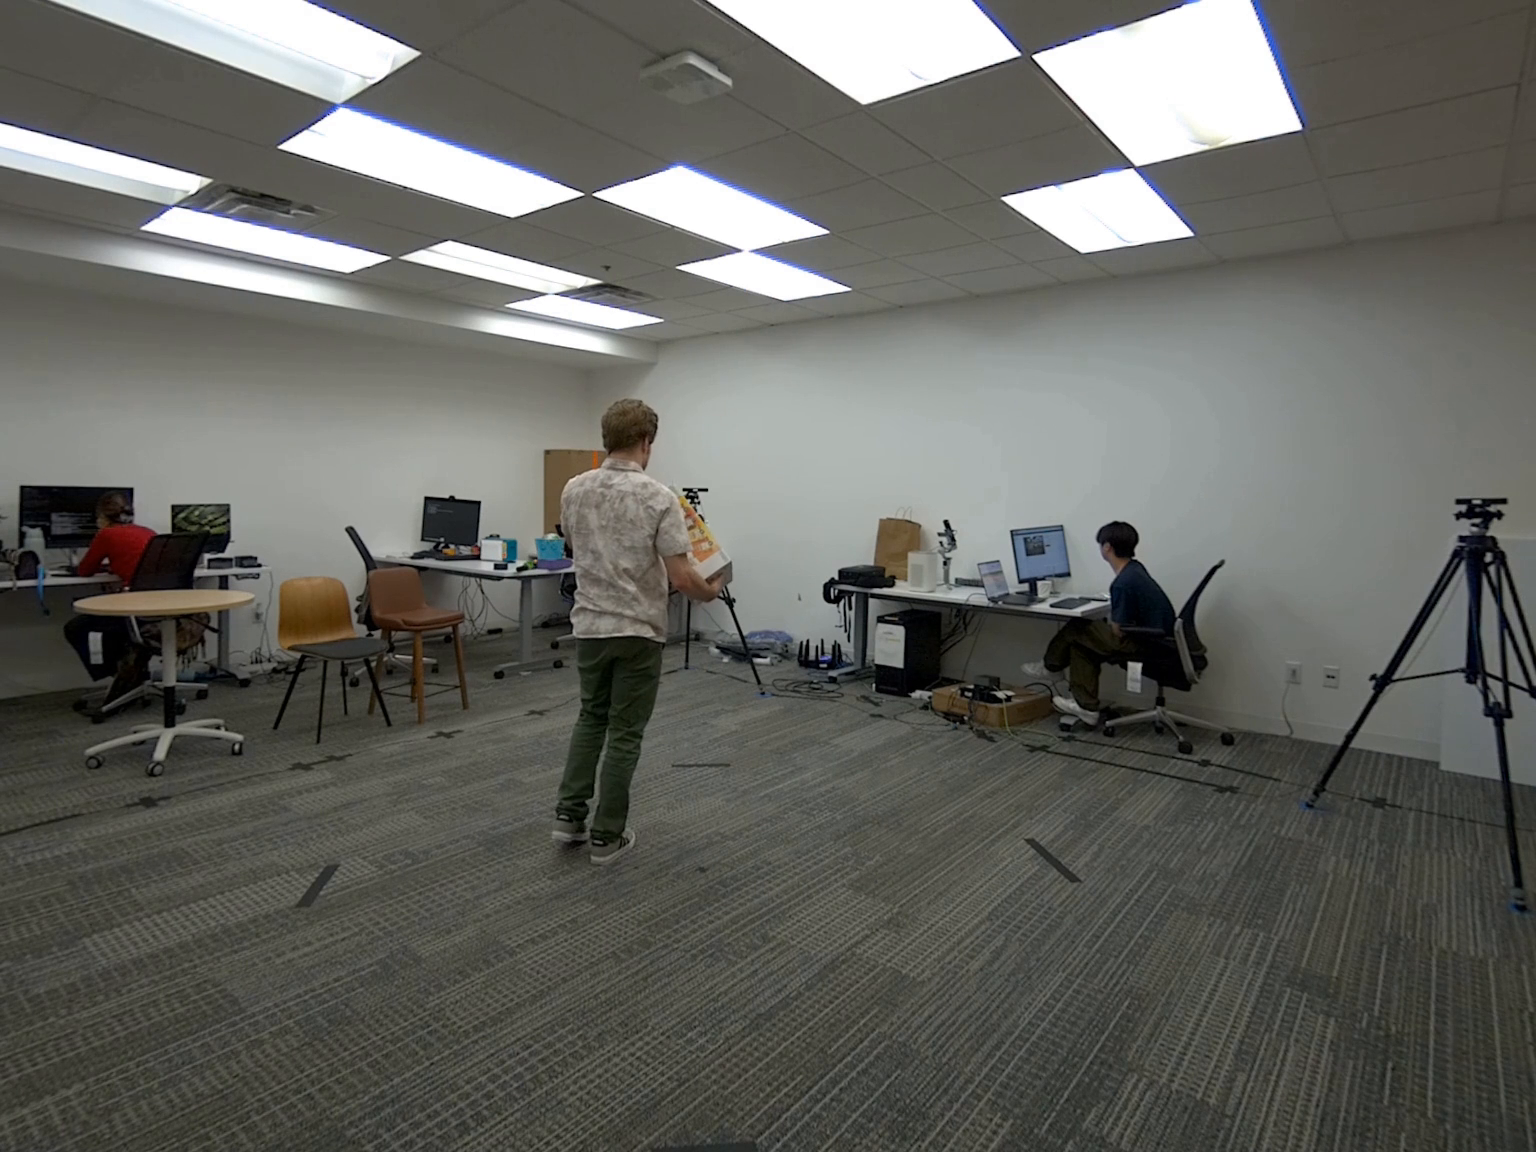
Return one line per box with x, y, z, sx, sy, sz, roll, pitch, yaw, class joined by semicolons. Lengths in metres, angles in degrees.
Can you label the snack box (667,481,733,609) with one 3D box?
-0.351;-0.123;3.500;0.205;0.413;0.335;-34;-14;-10;snack box
